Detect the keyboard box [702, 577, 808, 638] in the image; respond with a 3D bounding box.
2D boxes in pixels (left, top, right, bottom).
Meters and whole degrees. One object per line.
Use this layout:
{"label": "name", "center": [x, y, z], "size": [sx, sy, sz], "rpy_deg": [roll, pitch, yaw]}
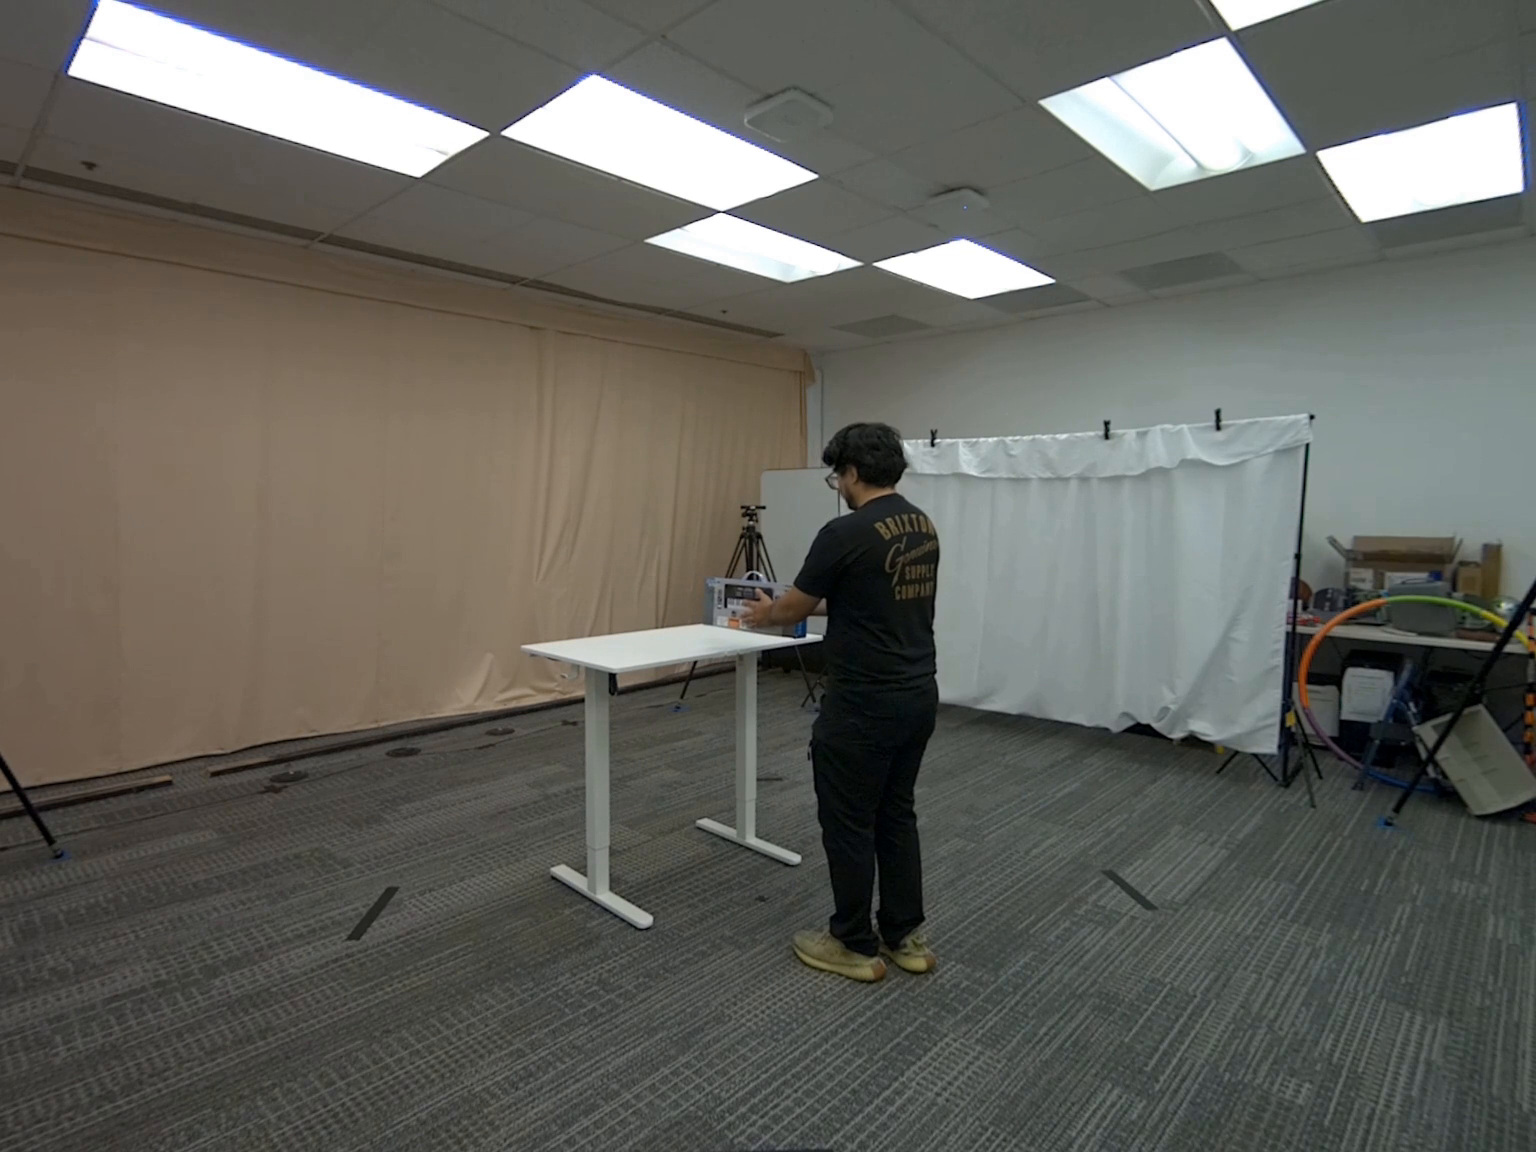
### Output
{"label": "keyboard box", "center": [-0.049, 0.107, 2.884], "size": [0.452, 0.176, 0.057], "rpy_deg": [6, 3, 44]}
